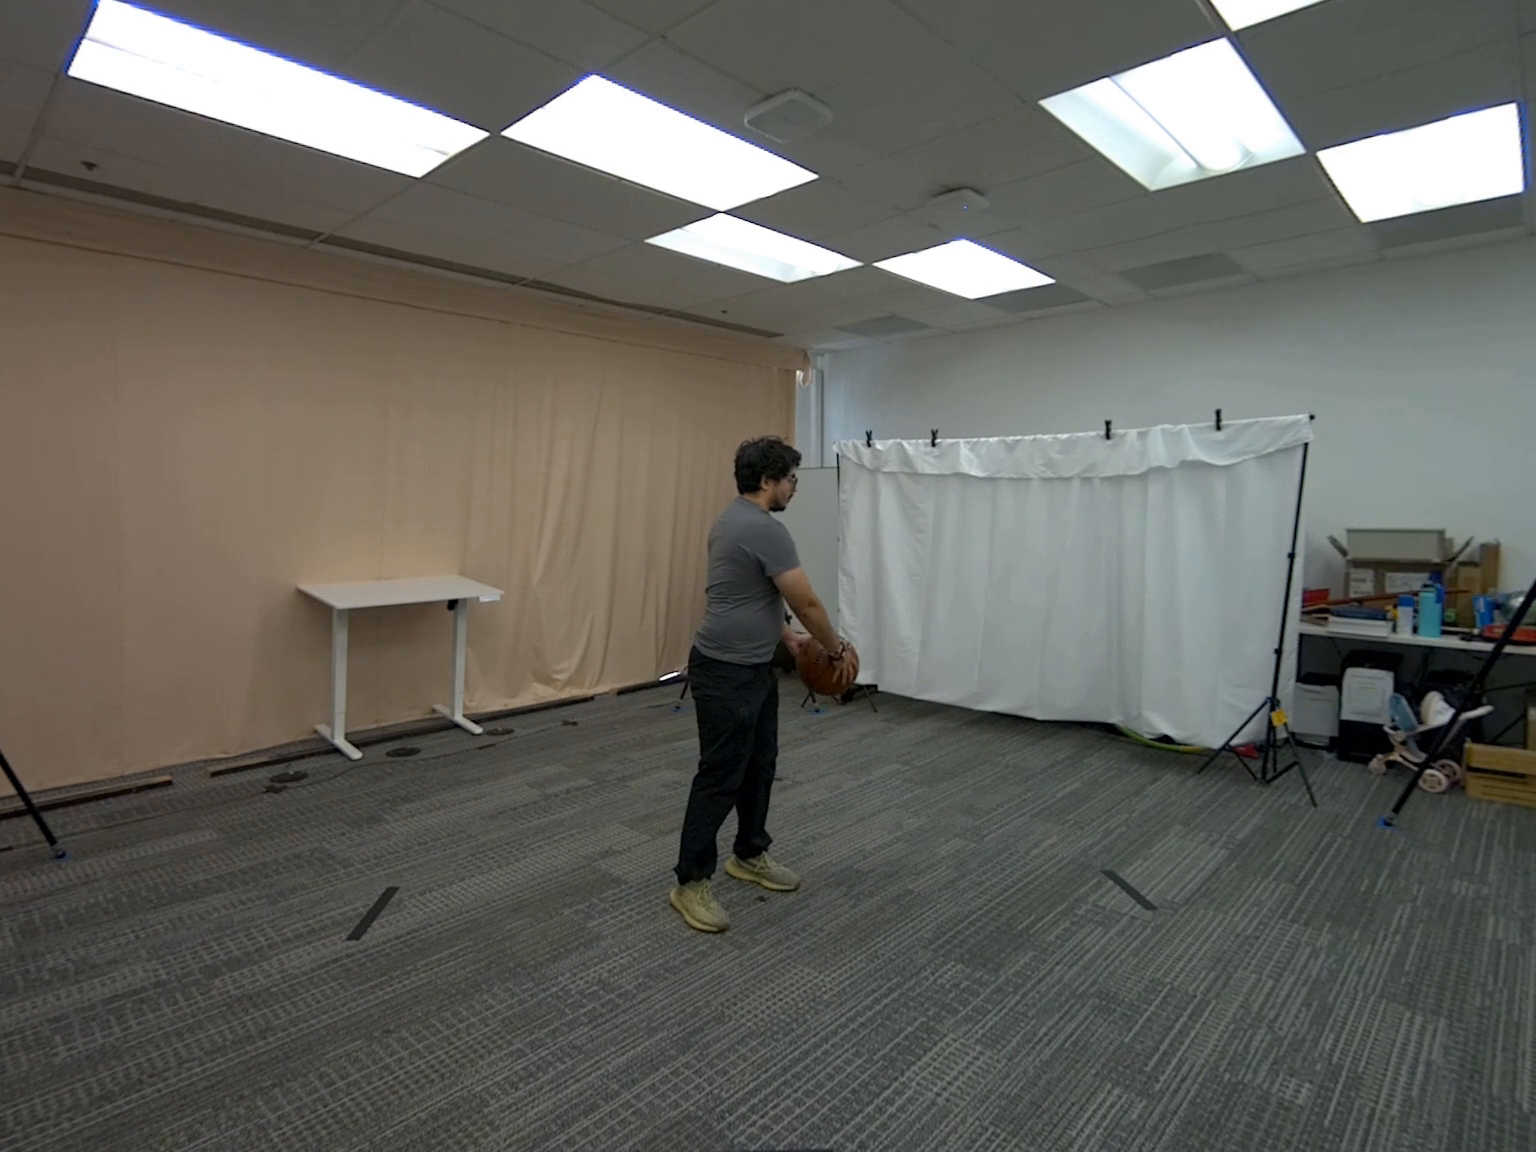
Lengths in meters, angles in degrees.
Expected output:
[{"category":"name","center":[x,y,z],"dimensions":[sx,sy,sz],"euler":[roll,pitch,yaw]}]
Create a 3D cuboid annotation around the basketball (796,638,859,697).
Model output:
[{"category":"basketball","center":[0.237,0.332,3.221],"dimensions":[0.236,0.235,0.237],"euler":[0,4,-2]}]
